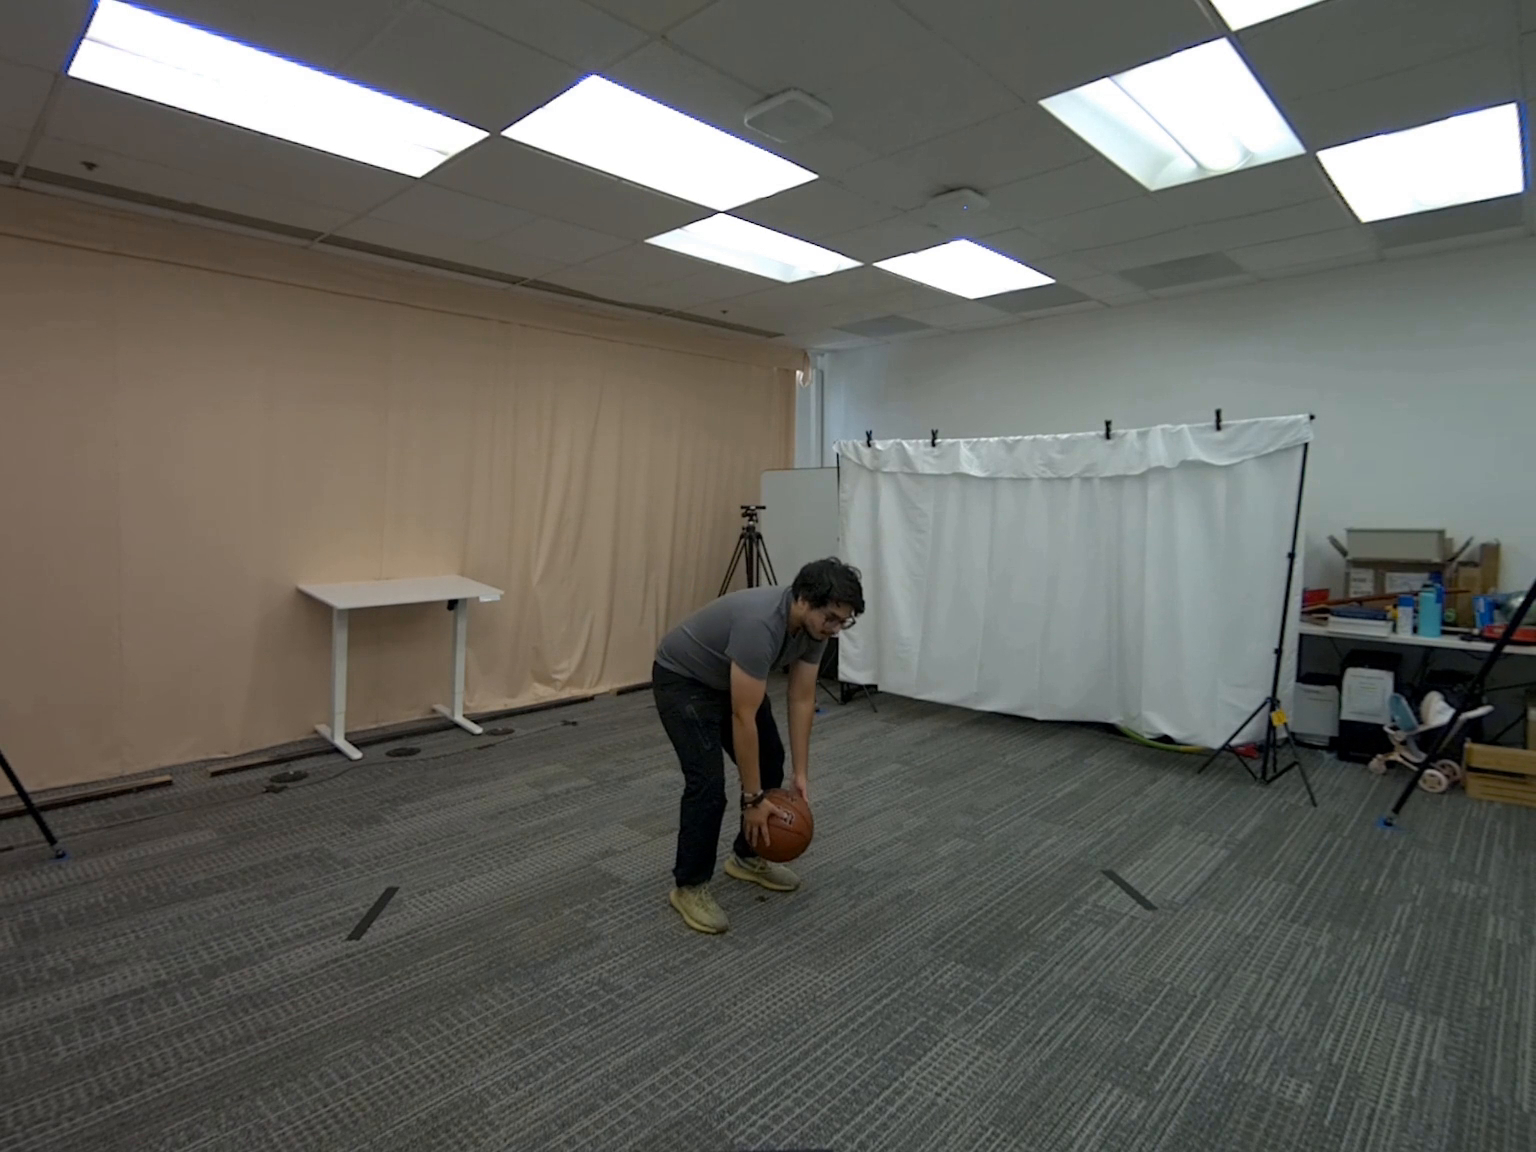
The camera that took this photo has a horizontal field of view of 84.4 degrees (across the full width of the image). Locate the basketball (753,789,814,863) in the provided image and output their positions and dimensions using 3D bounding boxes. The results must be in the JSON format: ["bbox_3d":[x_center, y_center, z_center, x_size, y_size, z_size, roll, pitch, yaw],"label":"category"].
[{"bbox_3d":[0.039,0.824,2.831,0.236,0.235,0.237,0,4,-2],"label":"basketball"}]
